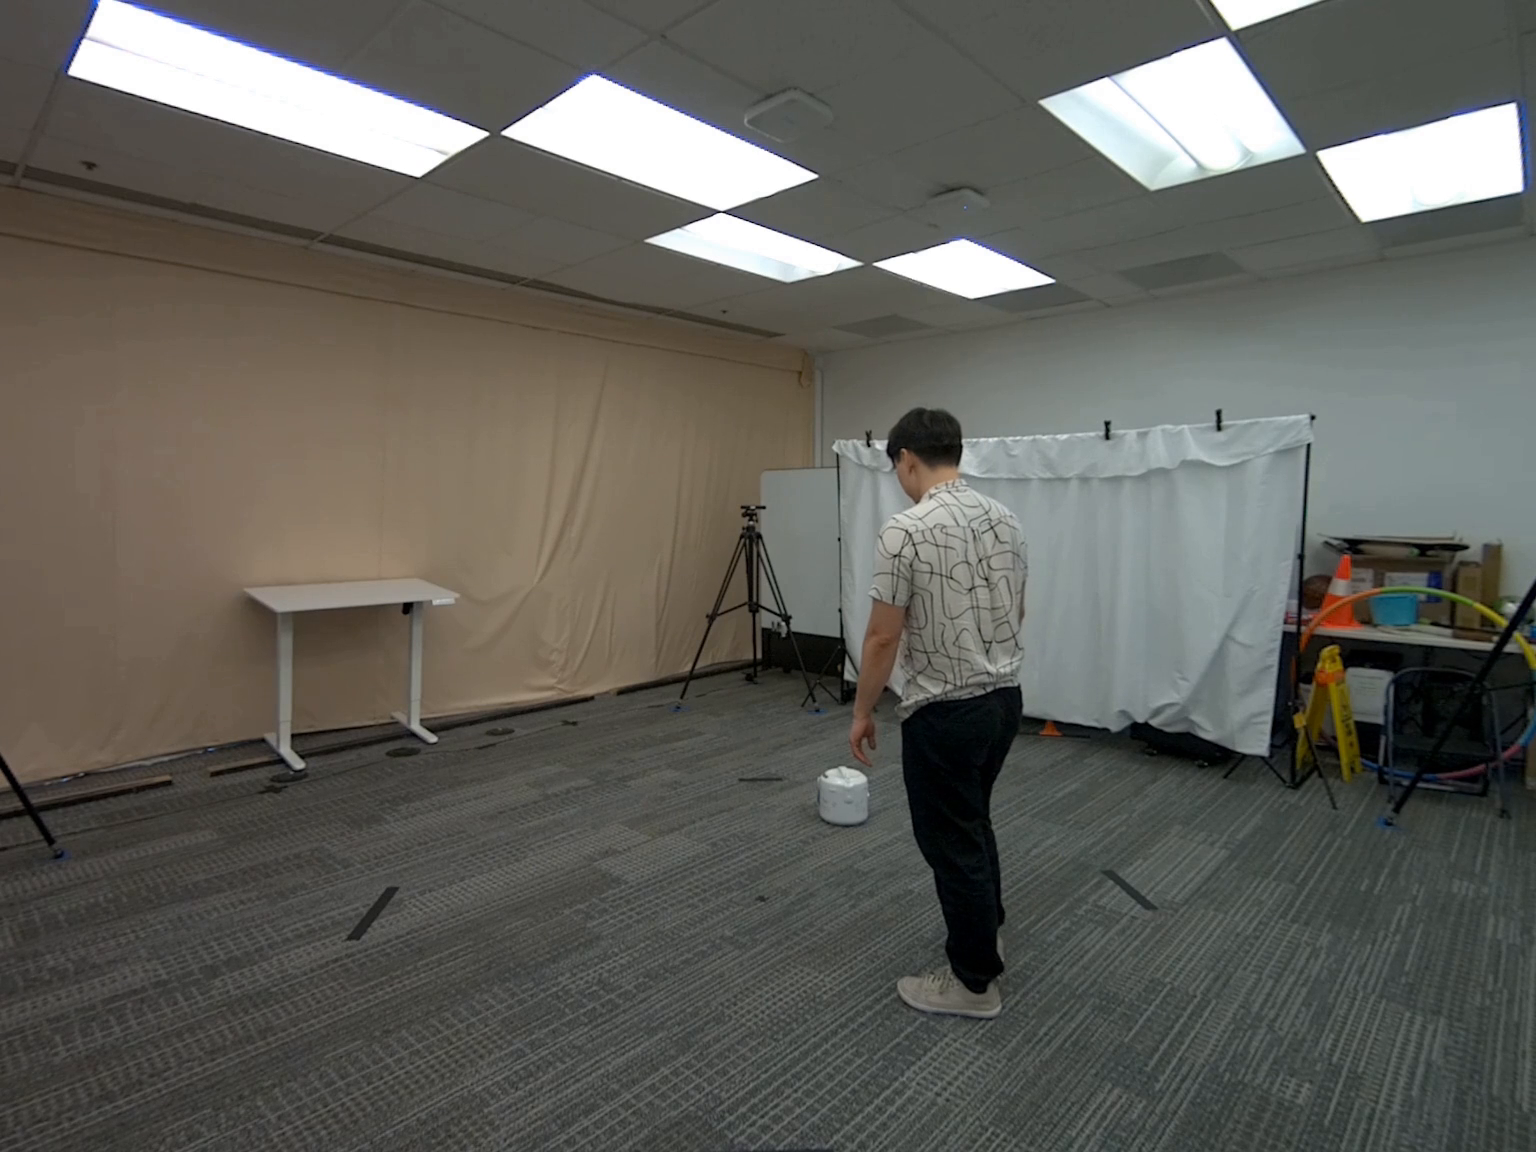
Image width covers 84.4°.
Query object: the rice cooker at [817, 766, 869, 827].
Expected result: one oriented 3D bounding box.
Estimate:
[{"bbox_3d":[0.337,0.963,3.733,0.216,0.232,0.222,-1,4,-5],"label":"rice cooker"}]
